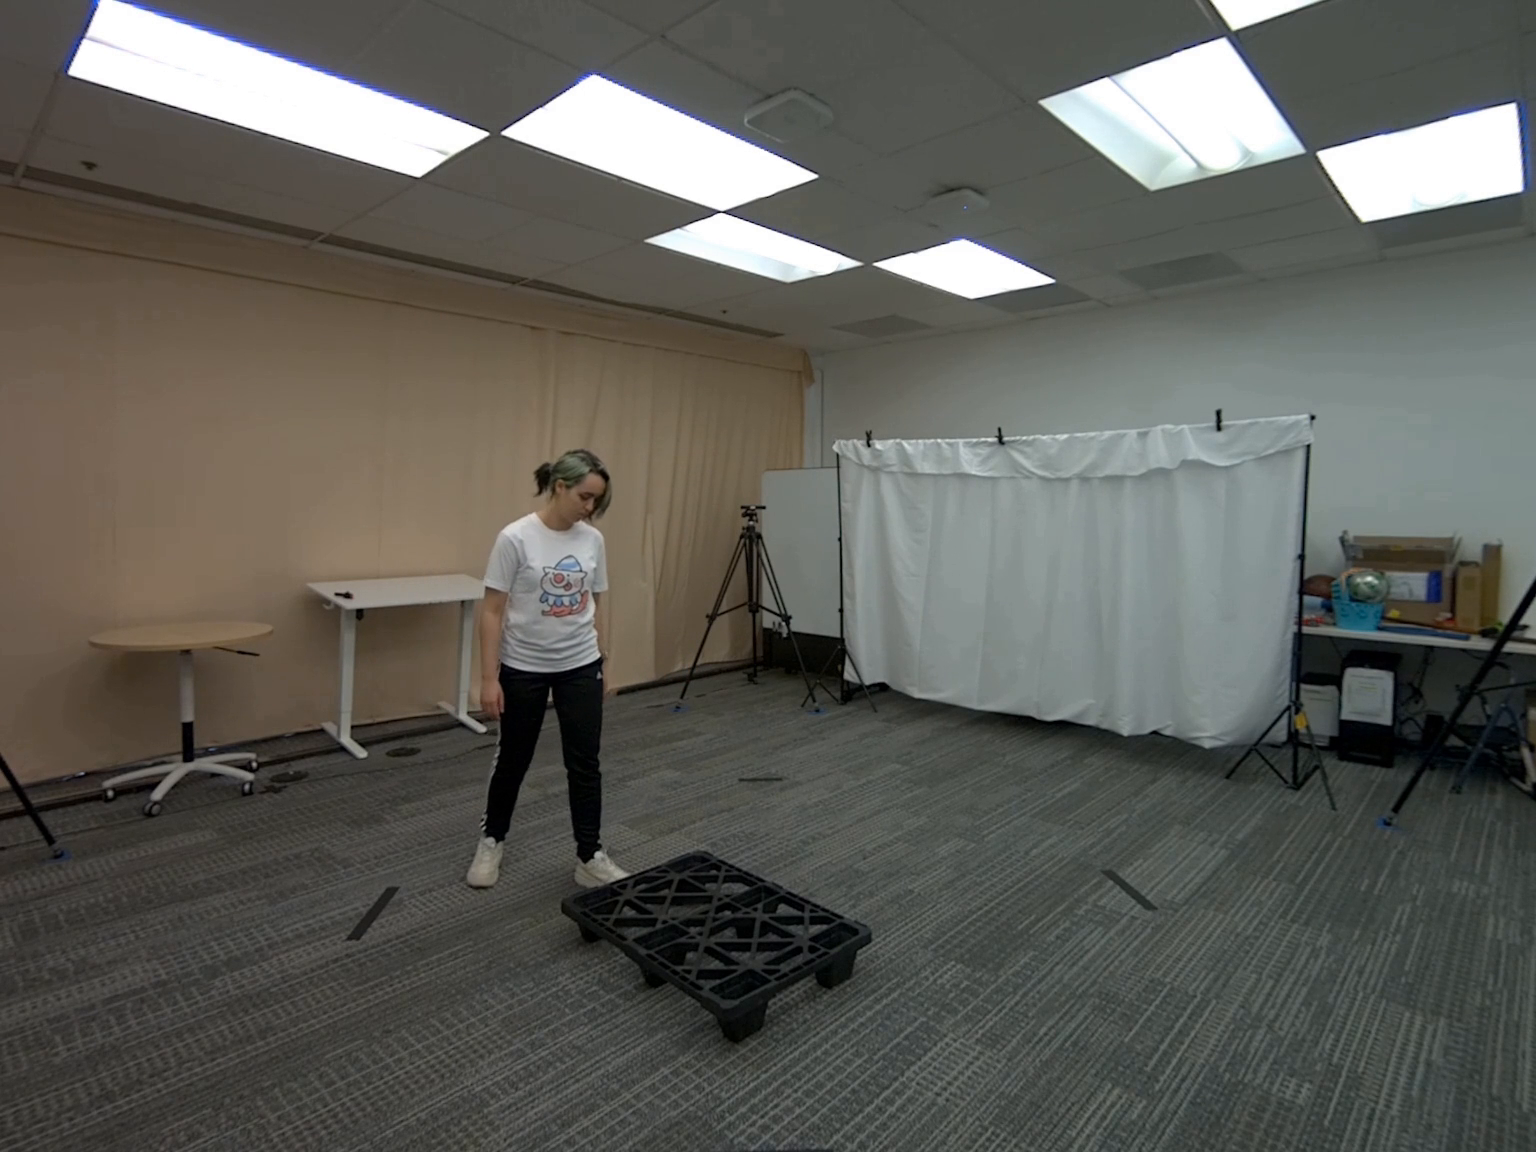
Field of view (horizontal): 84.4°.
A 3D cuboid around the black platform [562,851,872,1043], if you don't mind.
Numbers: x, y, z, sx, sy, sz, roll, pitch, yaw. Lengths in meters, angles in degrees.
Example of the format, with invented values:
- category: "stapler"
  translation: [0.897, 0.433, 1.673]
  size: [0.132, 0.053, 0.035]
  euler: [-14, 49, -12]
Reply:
- category: "black platform"
  translation: [-0.173, 1.111, 2.592]
  size: [0.587, 0.143, 0.832]
  euler: [-5, 7, -43]
